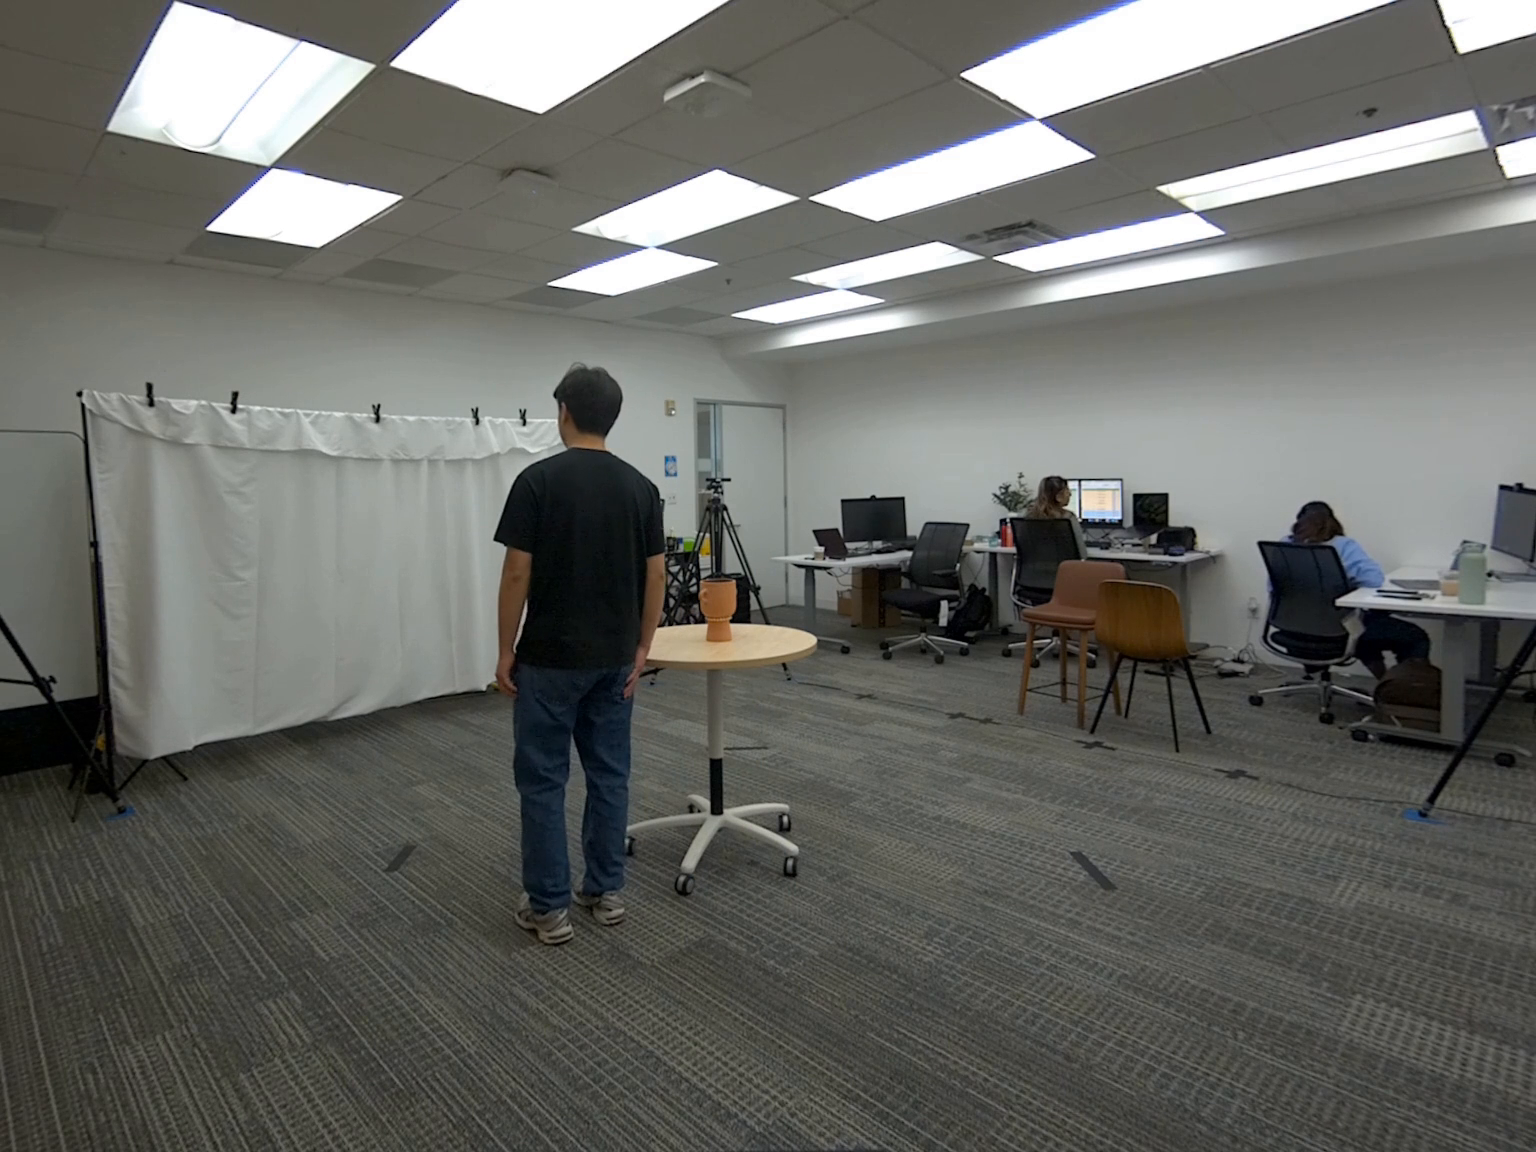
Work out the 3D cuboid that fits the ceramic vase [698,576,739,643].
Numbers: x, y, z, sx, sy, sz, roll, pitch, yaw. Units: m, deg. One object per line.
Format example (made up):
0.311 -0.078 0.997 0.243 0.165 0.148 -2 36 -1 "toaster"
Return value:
-0.181 0.129 3.186 0.157 0.219 0.136 -2 4 -11 "ceramic vase"
